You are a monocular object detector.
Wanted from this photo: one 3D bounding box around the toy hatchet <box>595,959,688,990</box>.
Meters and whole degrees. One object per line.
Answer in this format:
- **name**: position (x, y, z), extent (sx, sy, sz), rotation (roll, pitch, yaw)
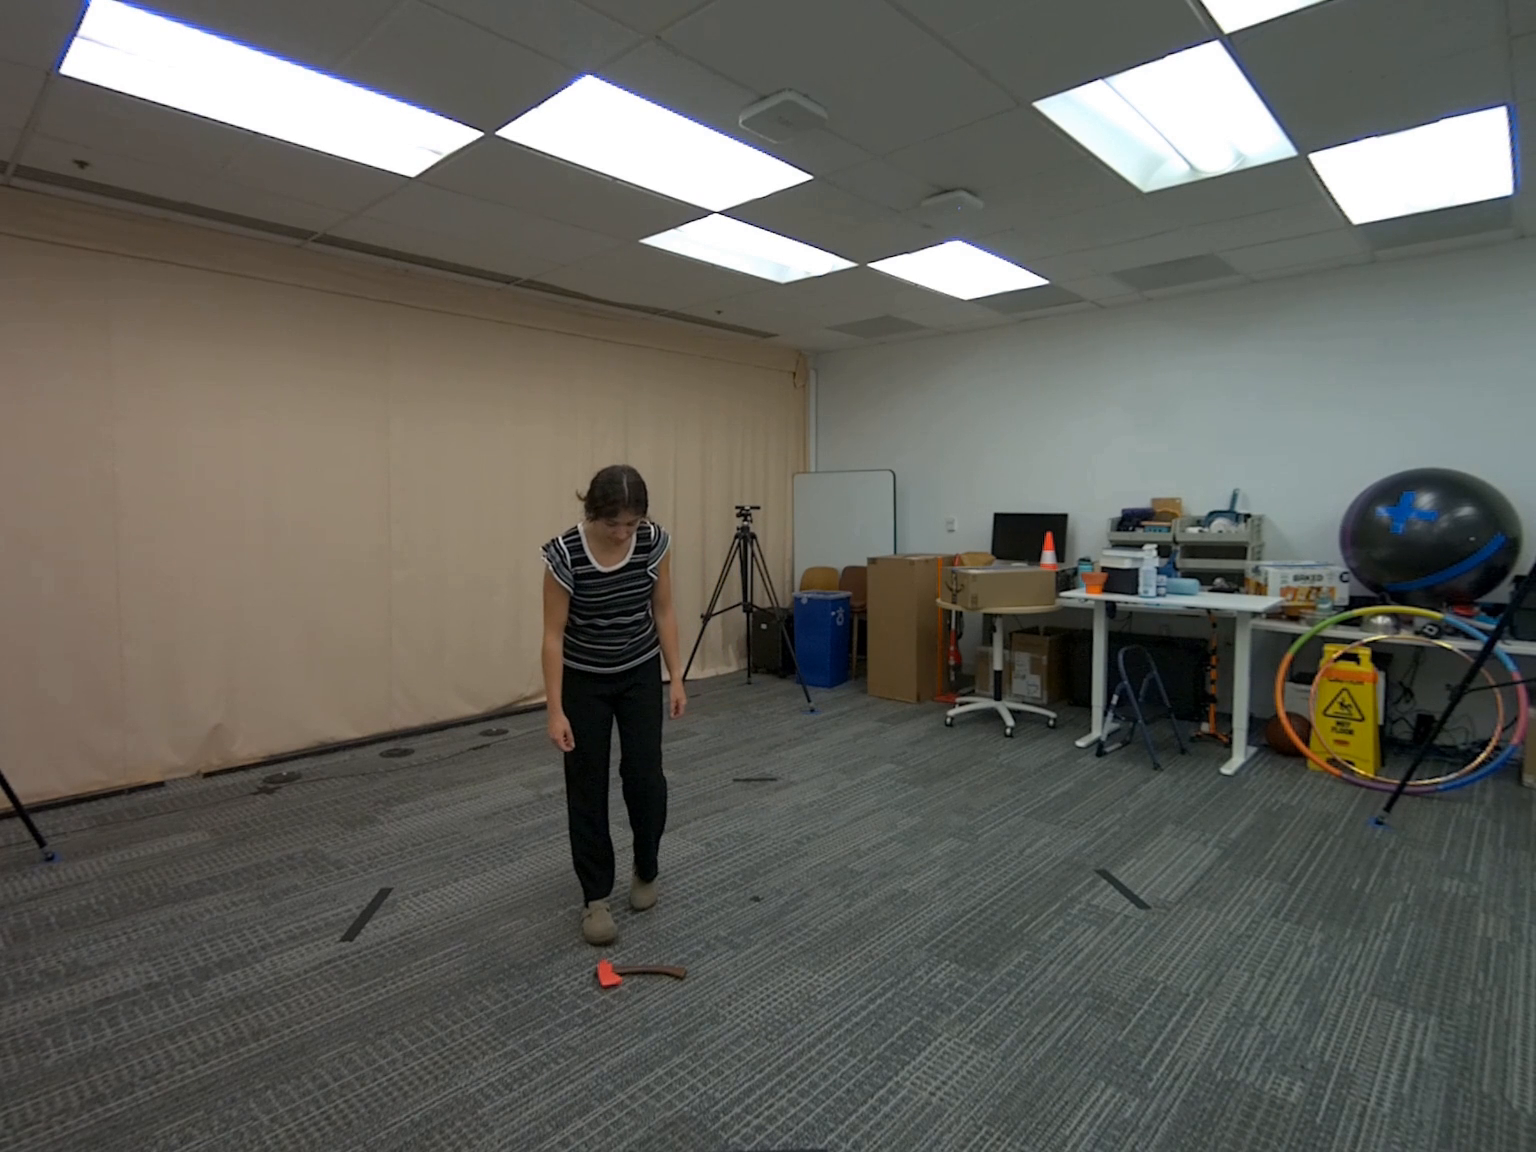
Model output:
- **toy hatchet**: position (-0.378, 1.179, 2.470), extent (0.273, 0.029, 0.130), rotation (1, 4, 11)
